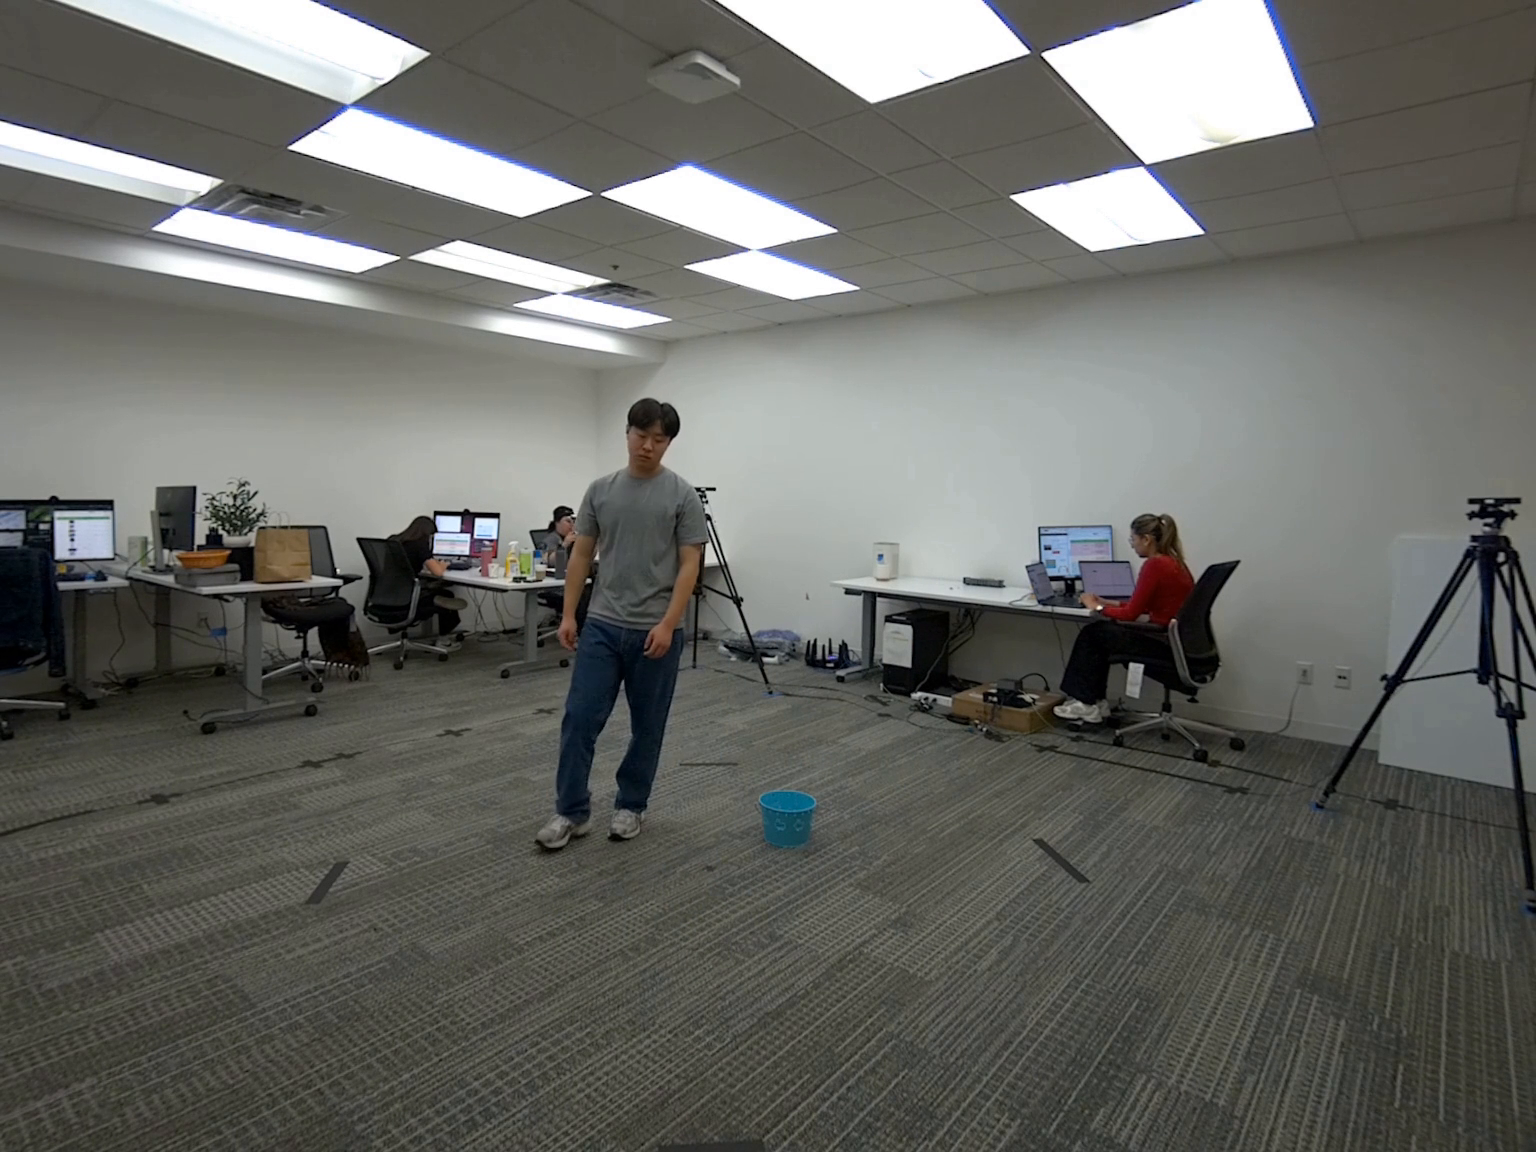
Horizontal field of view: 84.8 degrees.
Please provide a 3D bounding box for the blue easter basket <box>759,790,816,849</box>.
[{"bbox_3d":[0.072,0.969,3.395,0.243,0.155,0.245,1,5,-2],"label":"blue easter basket"}]
